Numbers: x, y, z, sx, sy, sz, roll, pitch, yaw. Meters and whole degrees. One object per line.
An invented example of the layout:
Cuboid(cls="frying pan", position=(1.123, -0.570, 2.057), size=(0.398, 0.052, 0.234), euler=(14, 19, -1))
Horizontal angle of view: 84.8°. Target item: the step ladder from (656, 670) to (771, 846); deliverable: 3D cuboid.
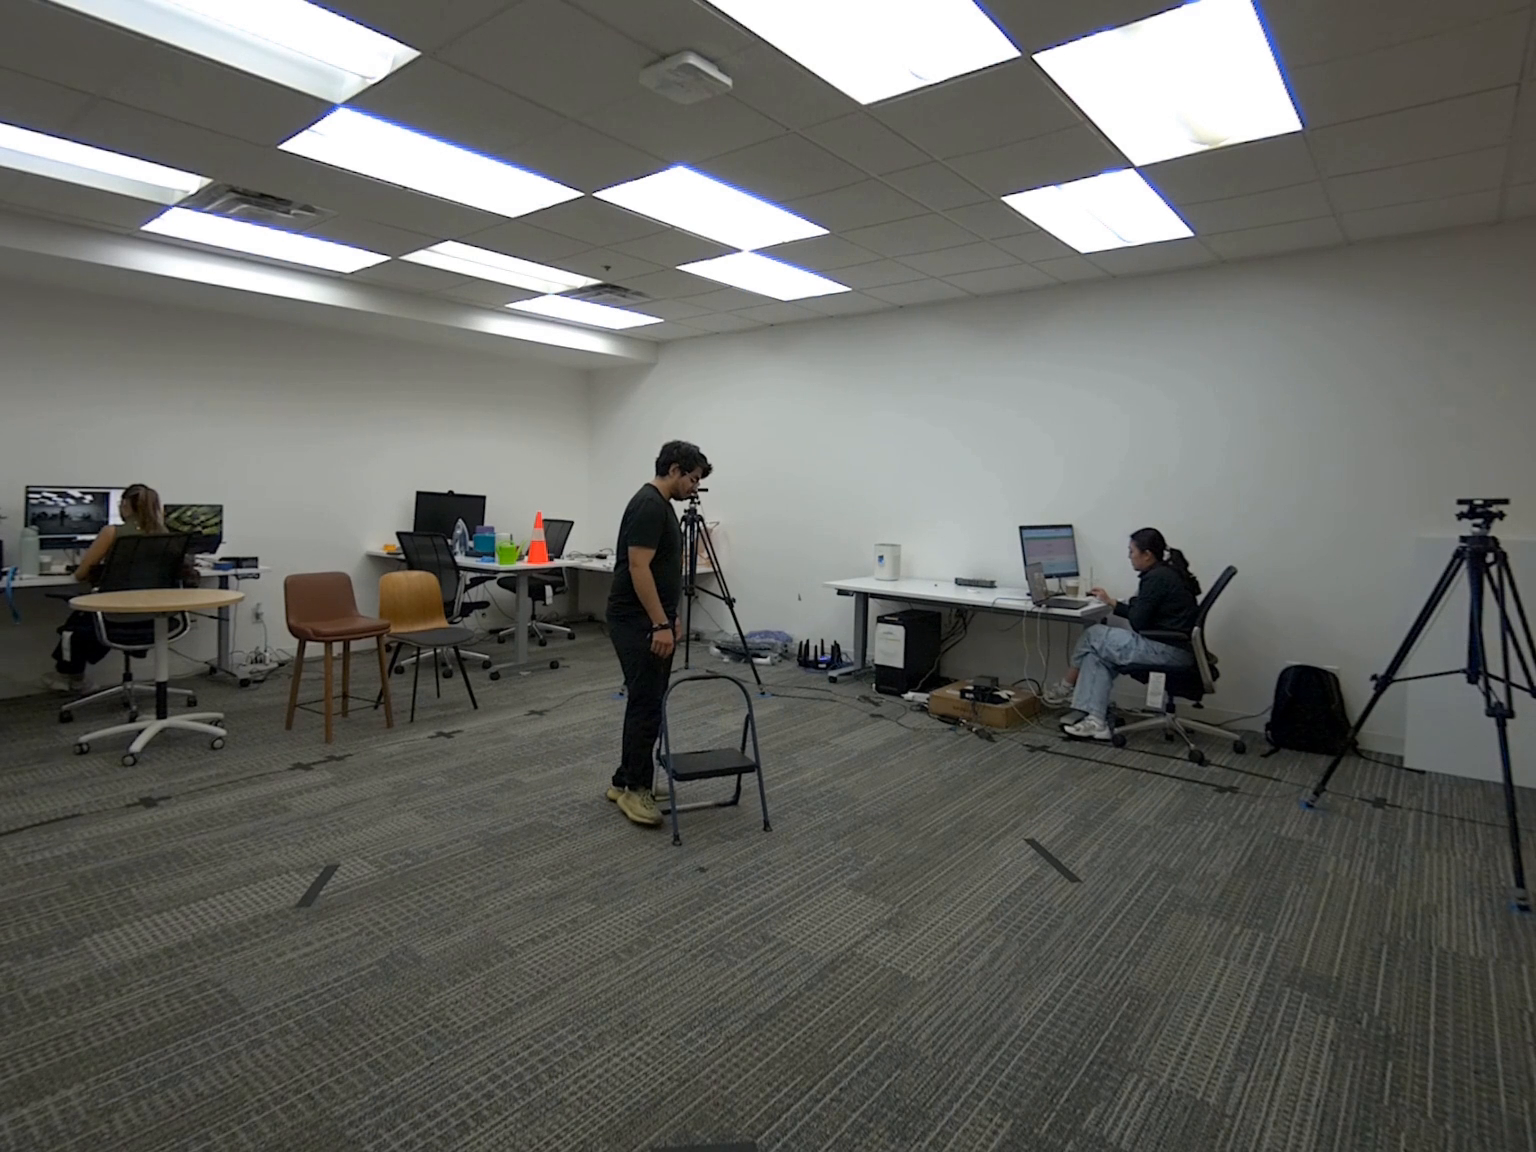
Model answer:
Cuboid(cls="step ladder", position=(-0.247, 0.725, 3.535), size=(0.420, 0.605, 0.359), euler=(0, 3, -25))
